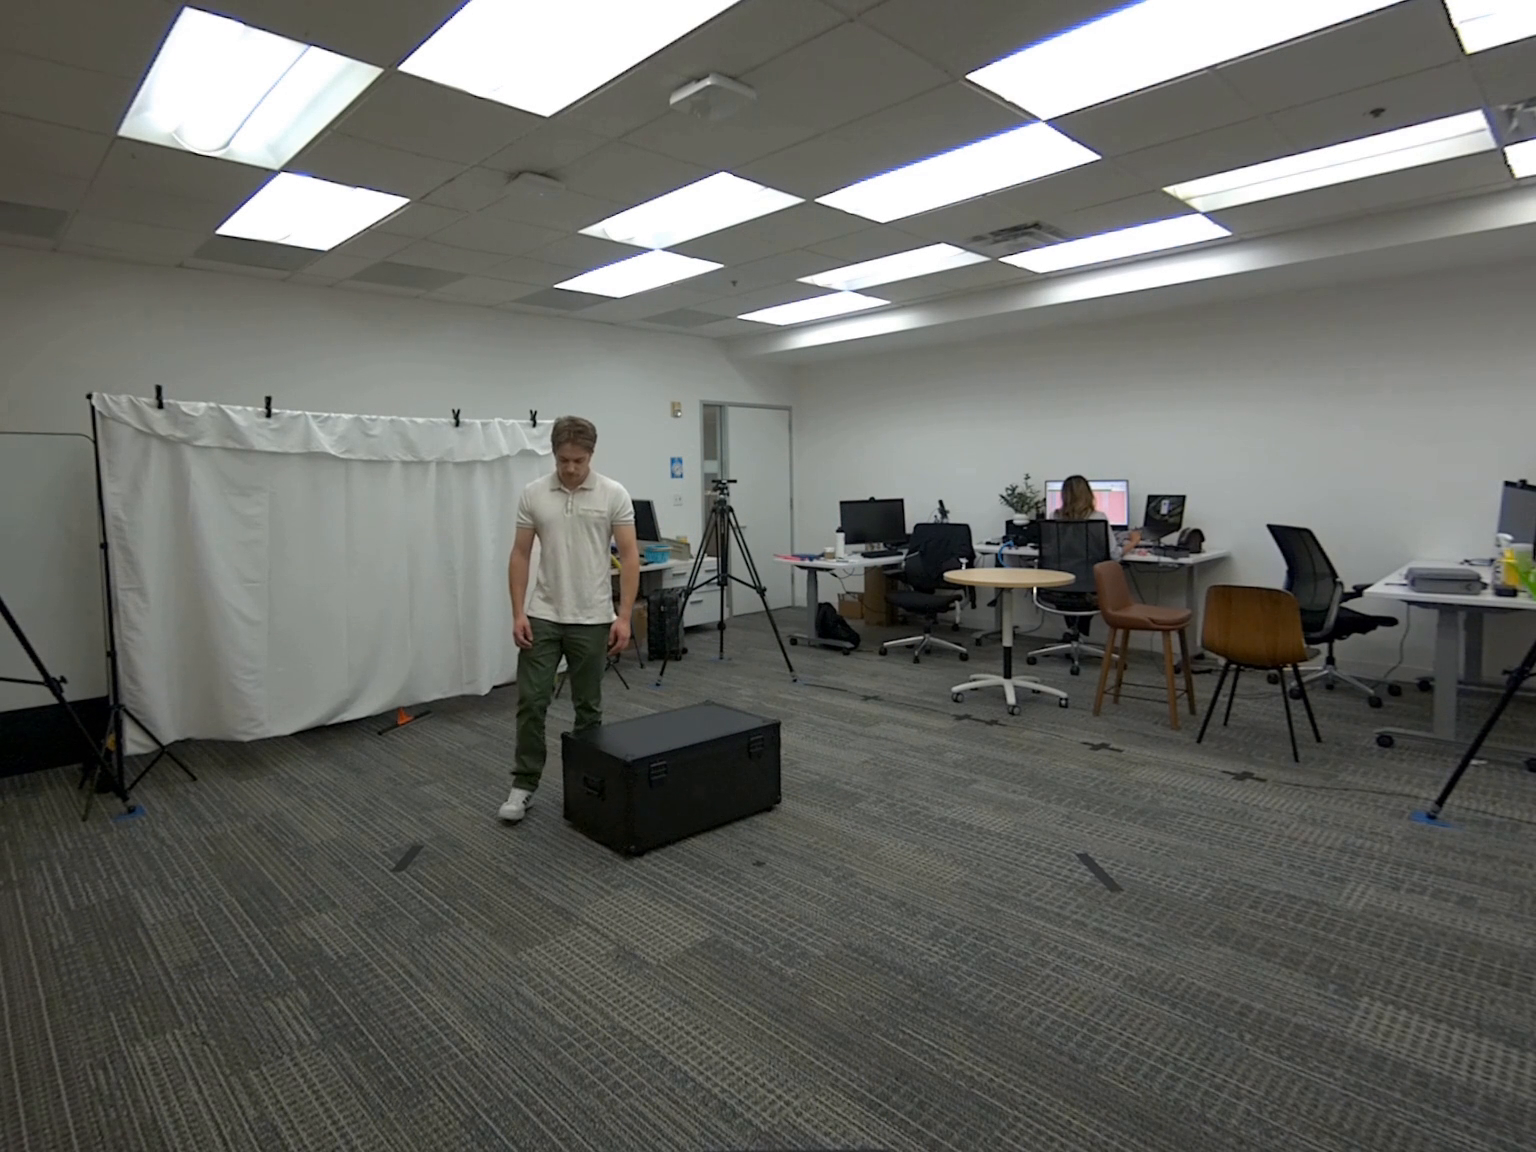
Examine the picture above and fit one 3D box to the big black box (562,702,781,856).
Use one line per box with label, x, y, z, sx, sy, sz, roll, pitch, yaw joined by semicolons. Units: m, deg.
big black box;-0.364;0.811;3.576;0.839;0.394;0.537;-7;8;-42
